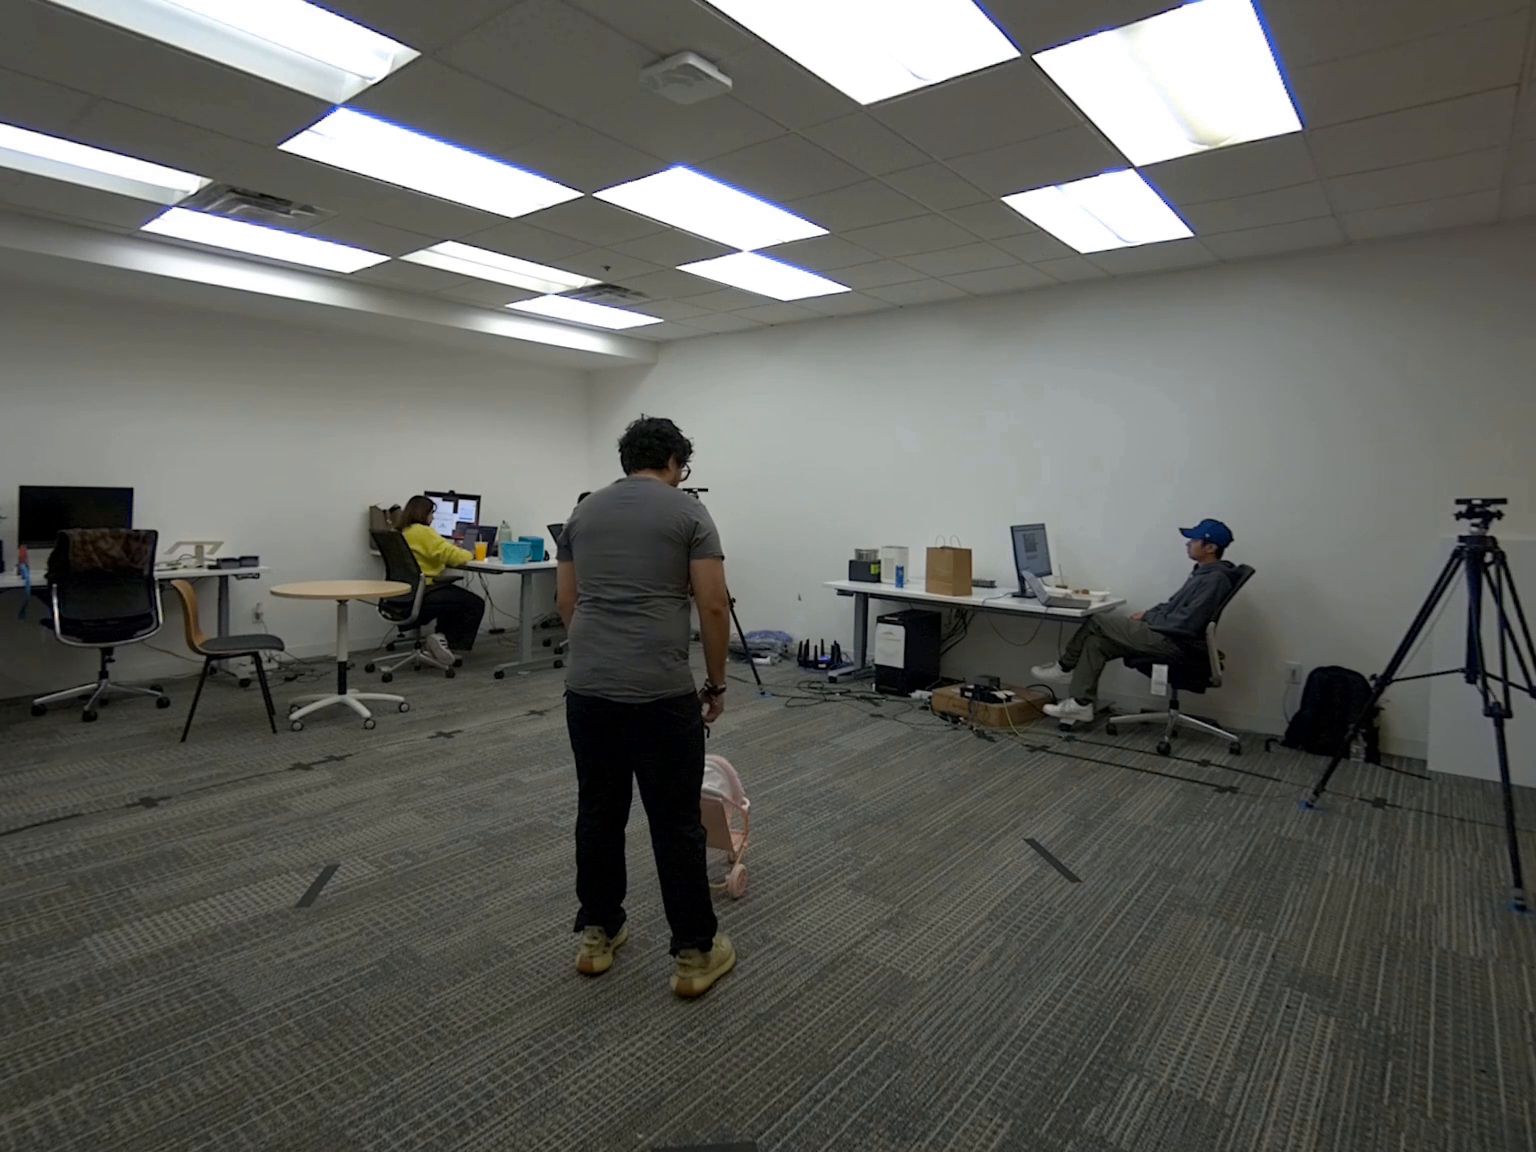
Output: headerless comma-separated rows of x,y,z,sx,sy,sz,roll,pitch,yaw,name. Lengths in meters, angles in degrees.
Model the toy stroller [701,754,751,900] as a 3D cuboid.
-0.198,0.857,2.995,0.289,0.525,0.339,4,21,25,toy stroller
